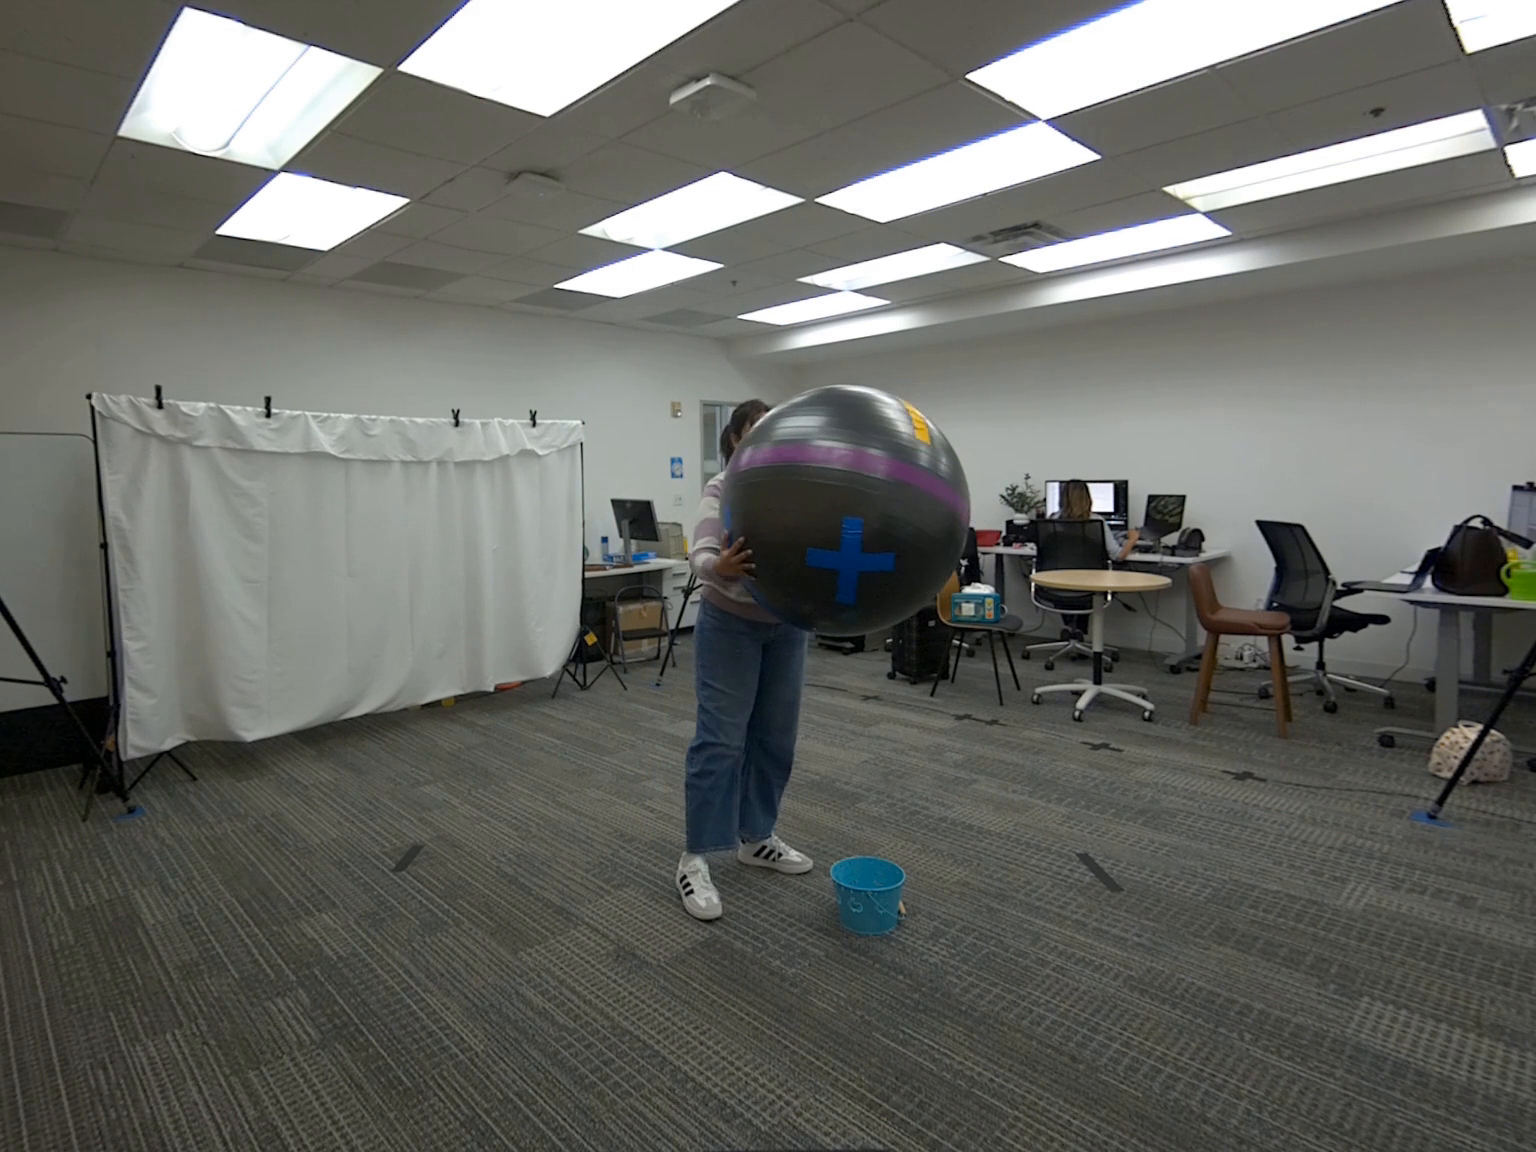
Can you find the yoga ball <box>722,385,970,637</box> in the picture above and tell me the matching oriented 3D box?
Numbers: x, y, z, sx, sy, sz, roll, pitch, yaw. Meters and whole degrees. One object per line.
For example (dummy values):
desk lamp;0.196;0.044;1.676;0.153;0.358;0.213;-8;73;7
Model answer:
yoga ball;0.236;-0.193;2.604;0.757;0.755;0.762;-1;5;-2
